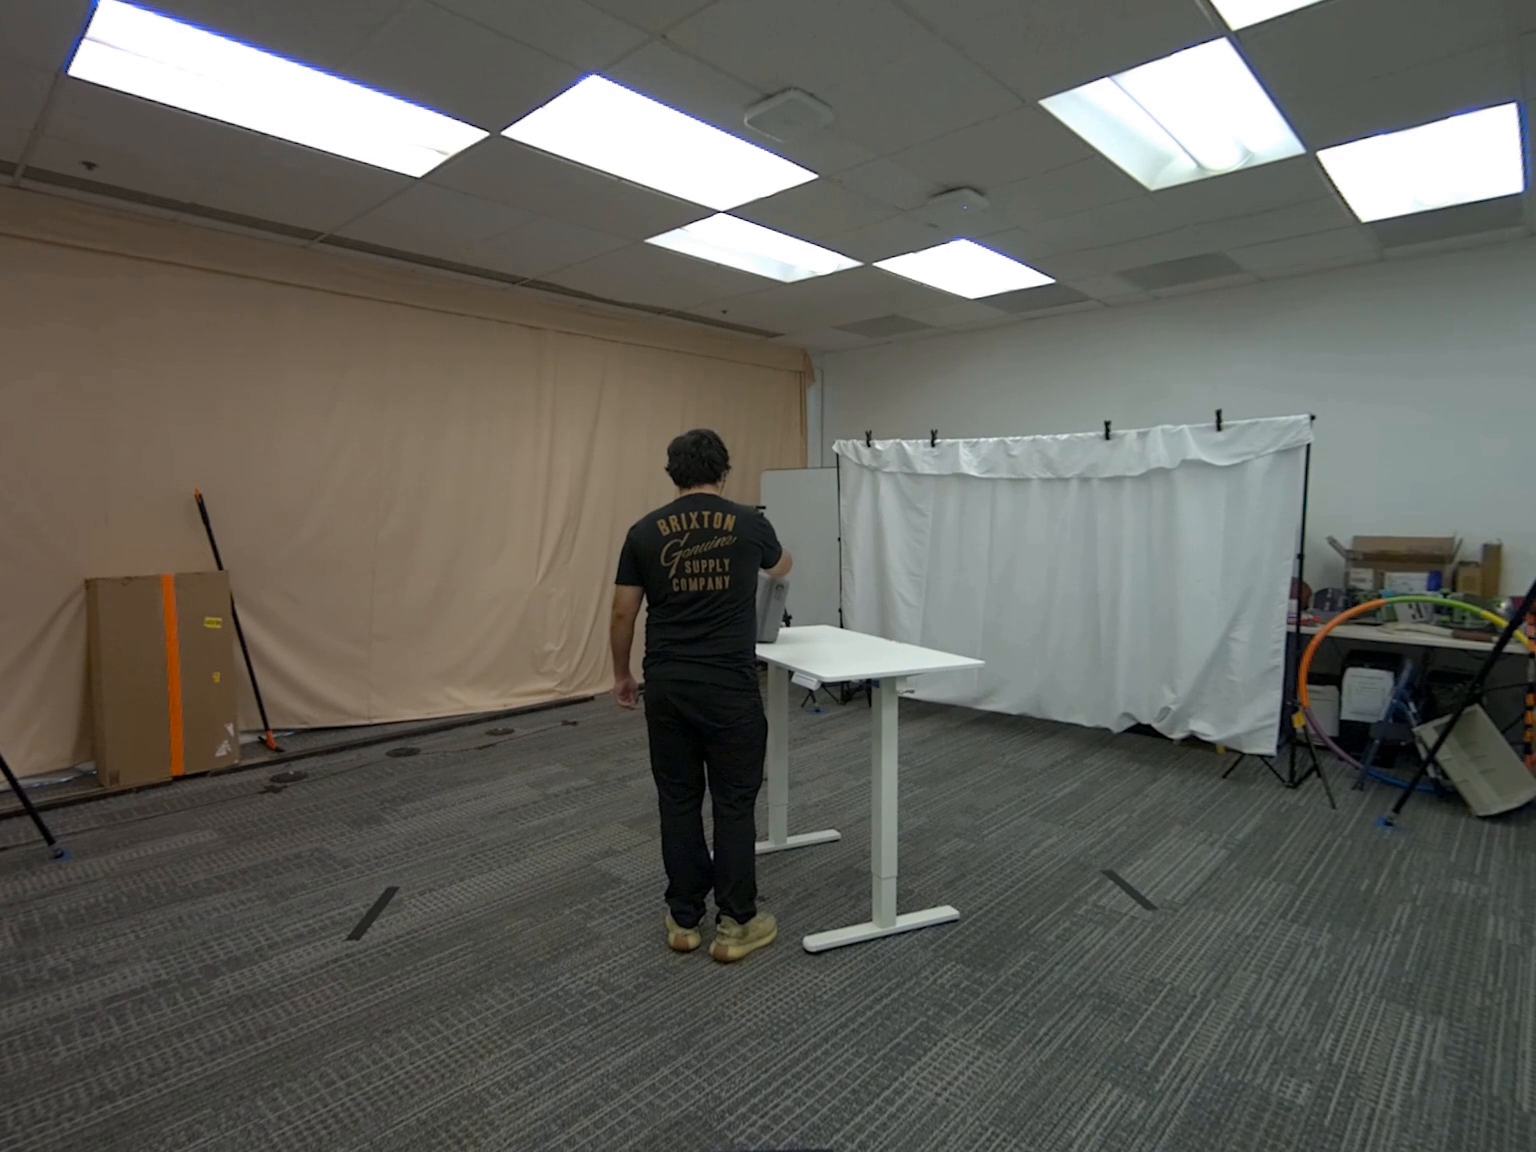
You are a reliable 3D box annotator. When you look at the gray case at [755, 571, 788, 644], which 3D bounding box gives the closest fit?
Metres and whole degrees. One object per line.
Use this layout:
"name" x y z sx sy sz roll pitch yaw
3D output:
"gray case" -0.016 0.110 3.221 0.103 0.260 0.260 9 2 -12
